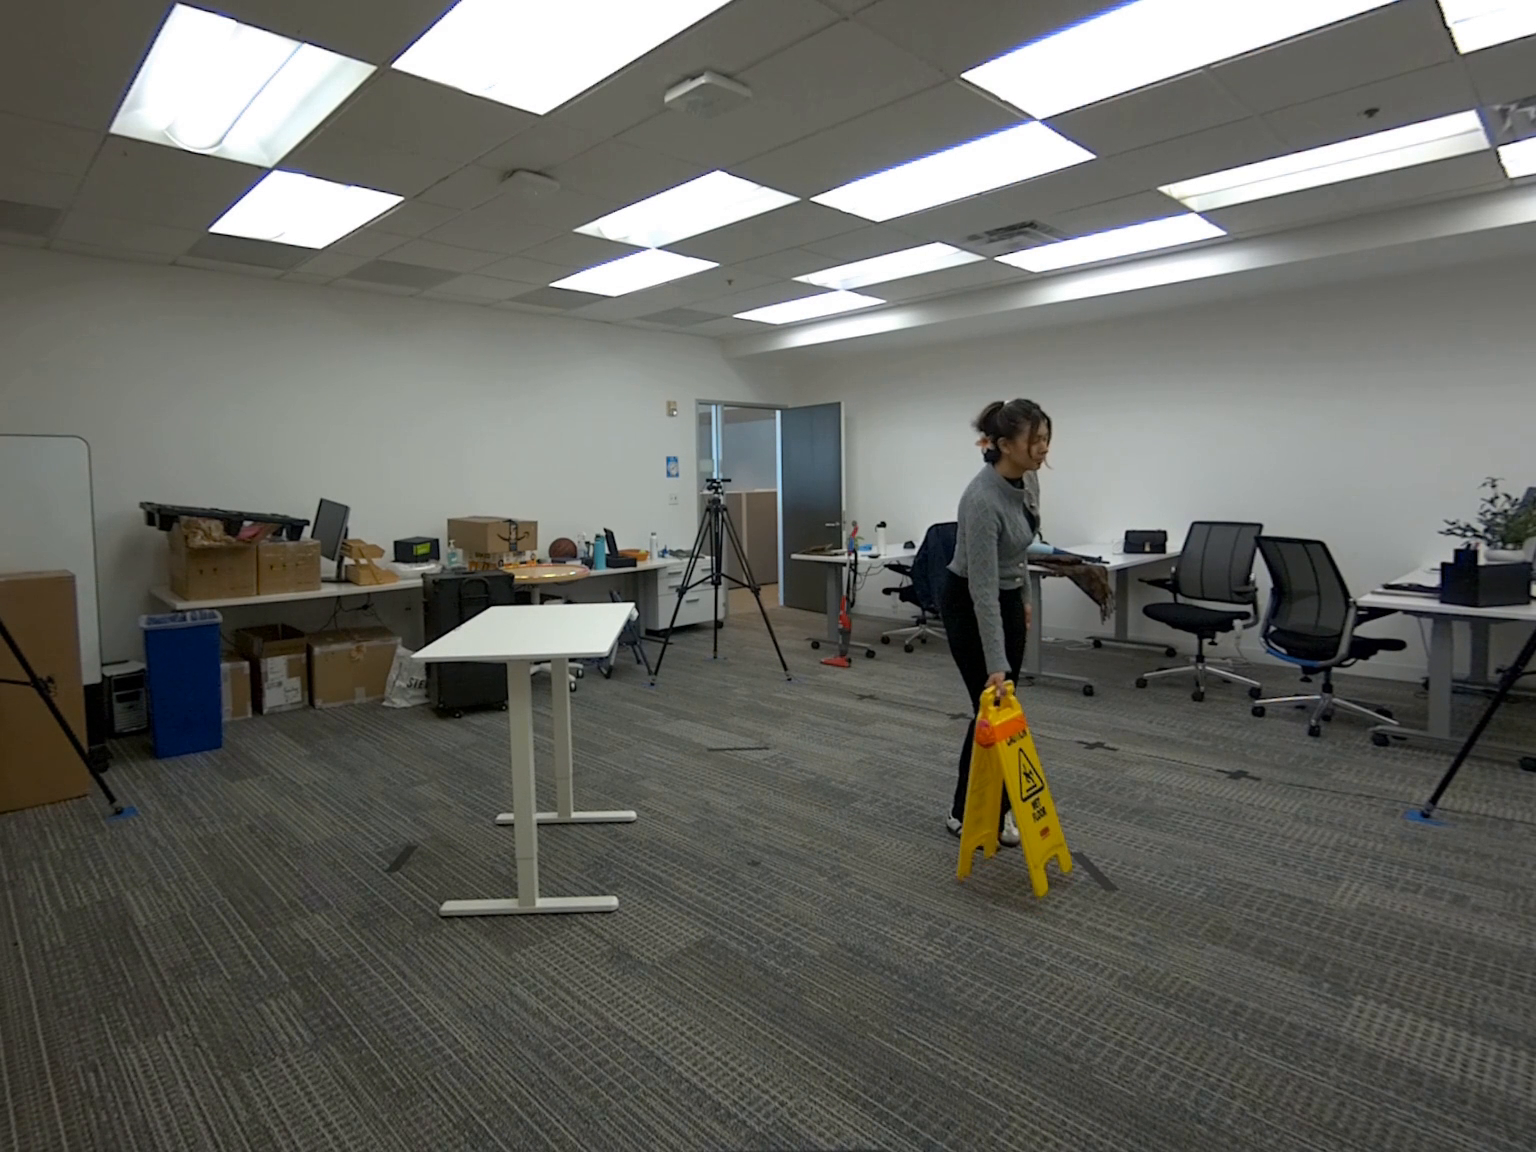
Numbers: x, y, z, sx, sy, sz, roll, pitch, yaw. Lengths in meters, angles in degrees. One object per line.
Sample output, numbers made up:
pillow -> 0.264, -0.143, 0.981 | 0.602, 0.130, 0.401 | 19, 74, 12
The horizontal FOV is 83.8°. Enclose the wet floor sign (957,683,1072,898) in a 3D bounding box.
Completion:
wet floor sign -> 0.813, 0.694, 2.912 | 0.297, 0.645, 0.275 | -4, 2, 43
